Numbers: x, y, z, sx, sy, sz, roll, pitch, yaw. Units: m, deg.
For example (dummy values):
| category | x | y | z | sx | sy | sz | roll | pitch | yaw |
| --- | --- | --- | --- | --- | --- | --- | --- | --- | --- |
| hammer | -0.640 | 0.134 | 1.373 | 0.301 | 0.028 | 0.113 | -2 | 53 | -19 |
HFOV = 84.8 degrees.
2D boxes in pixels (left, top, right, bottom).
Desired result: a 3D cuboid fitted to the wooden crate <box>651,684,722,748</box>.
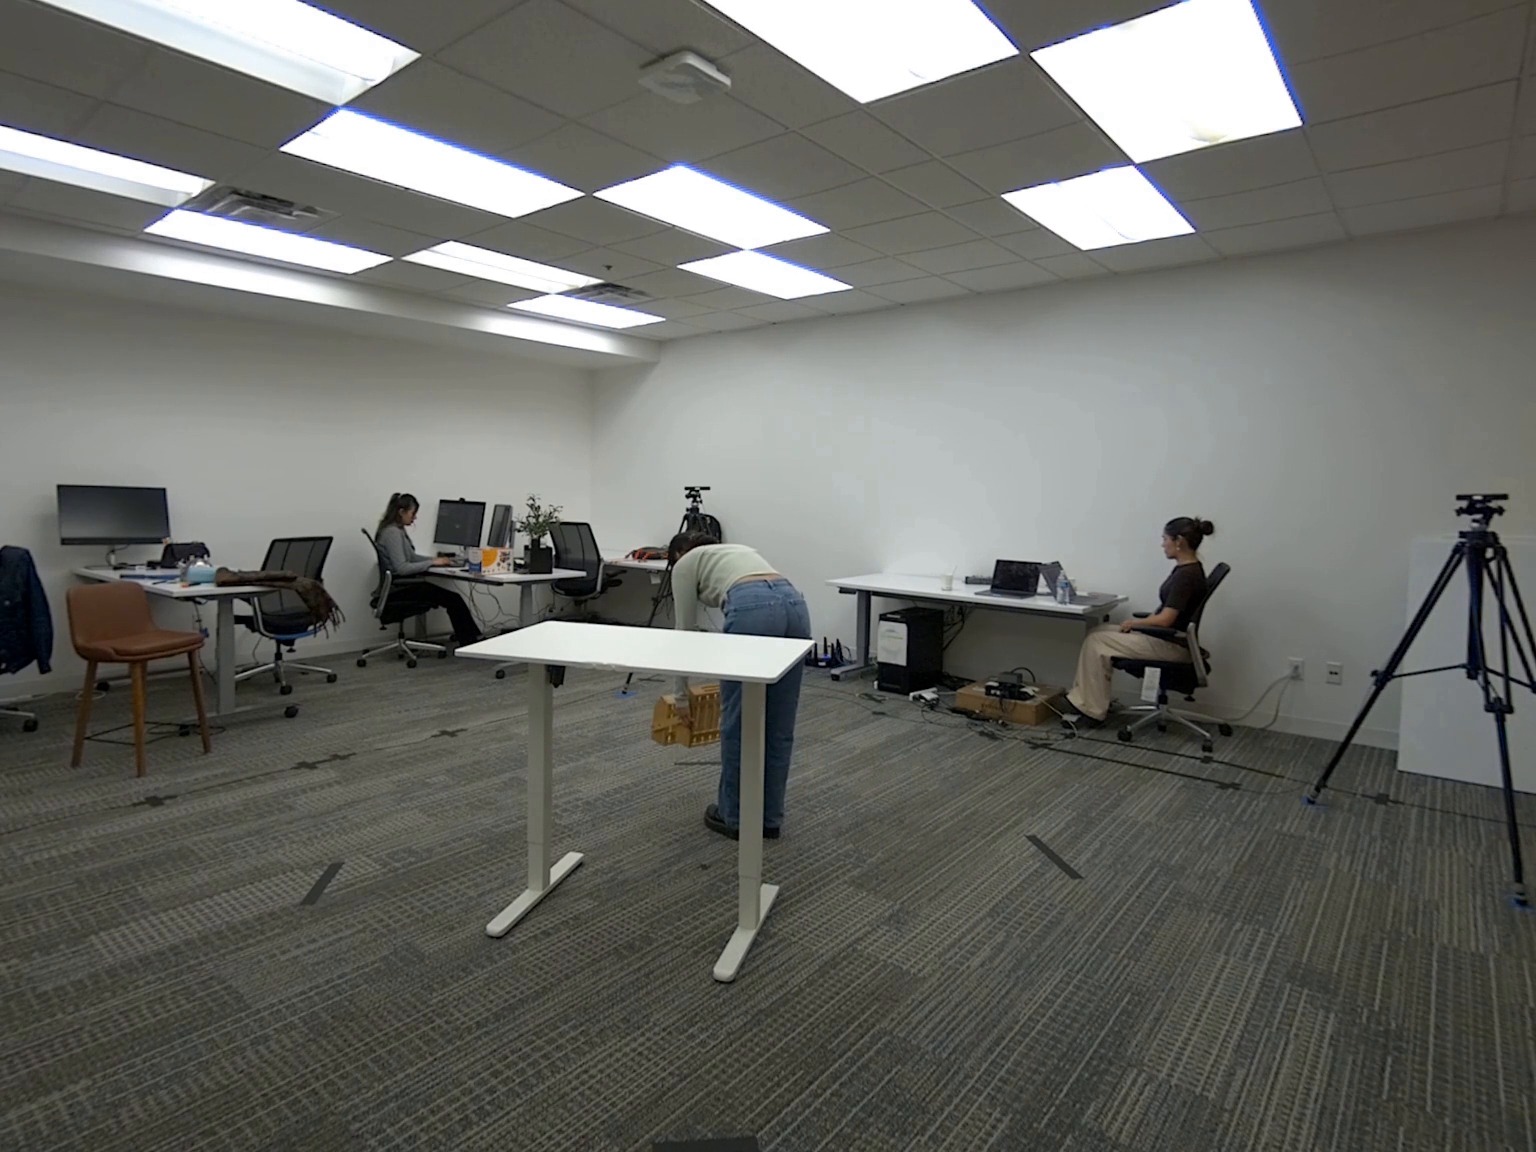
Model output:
| category | x | y | z | sx | sy | sz | roll | pitch | yaw |
| --- | --- | --- | --- | --- | --- | --- | --- | --- | --- |
| wooden crate | -0.318 | 0.588 | 3.733 | 0.314 | 0.300 | 0.284 | -1 | 11 | -44 |
